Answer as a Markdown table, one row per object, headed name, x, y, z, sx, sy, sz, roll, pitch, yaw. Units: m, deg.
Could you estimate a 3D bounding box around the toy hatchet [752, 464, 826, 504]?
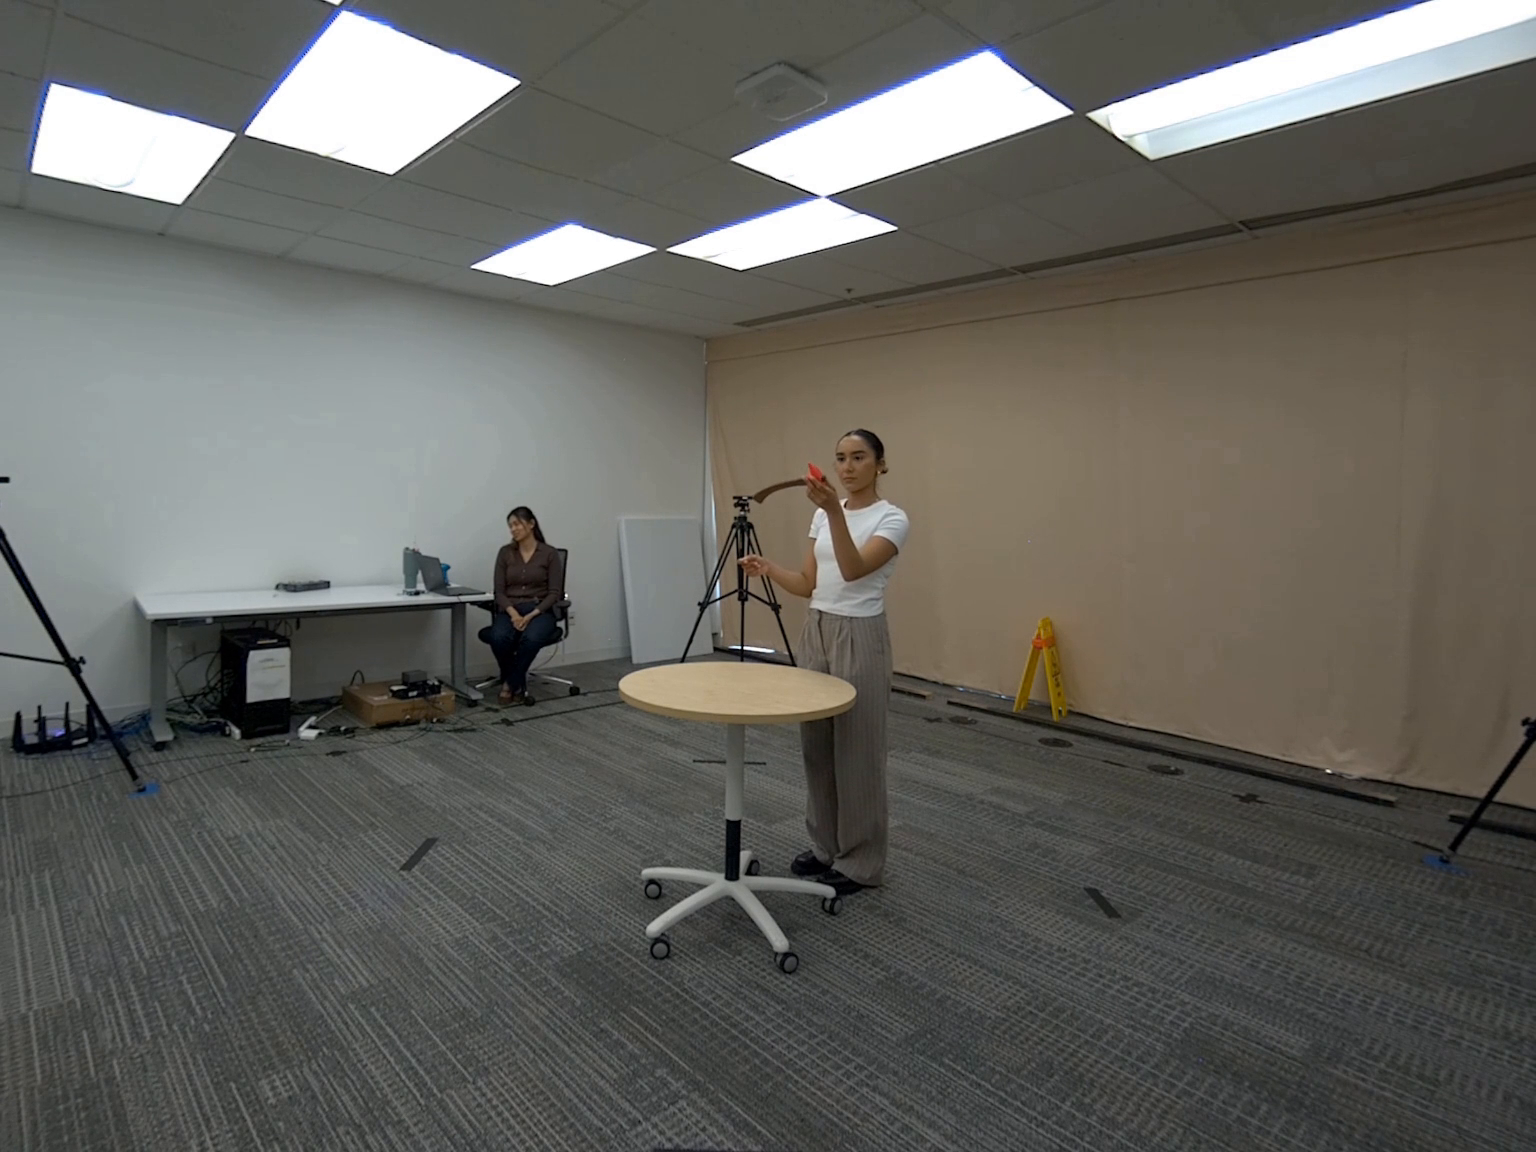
| name | x | y | z | sx | sy | sz | roll | pitch | yaw |
| --- | --- | --- | --- | --- | --- | --- | --- | --- | --- |
| toy hatchet | 0.075 | -0.267 | 2.711 | 0.273 | 0.128 | 0.030 | -26 | 28 | 41 |
